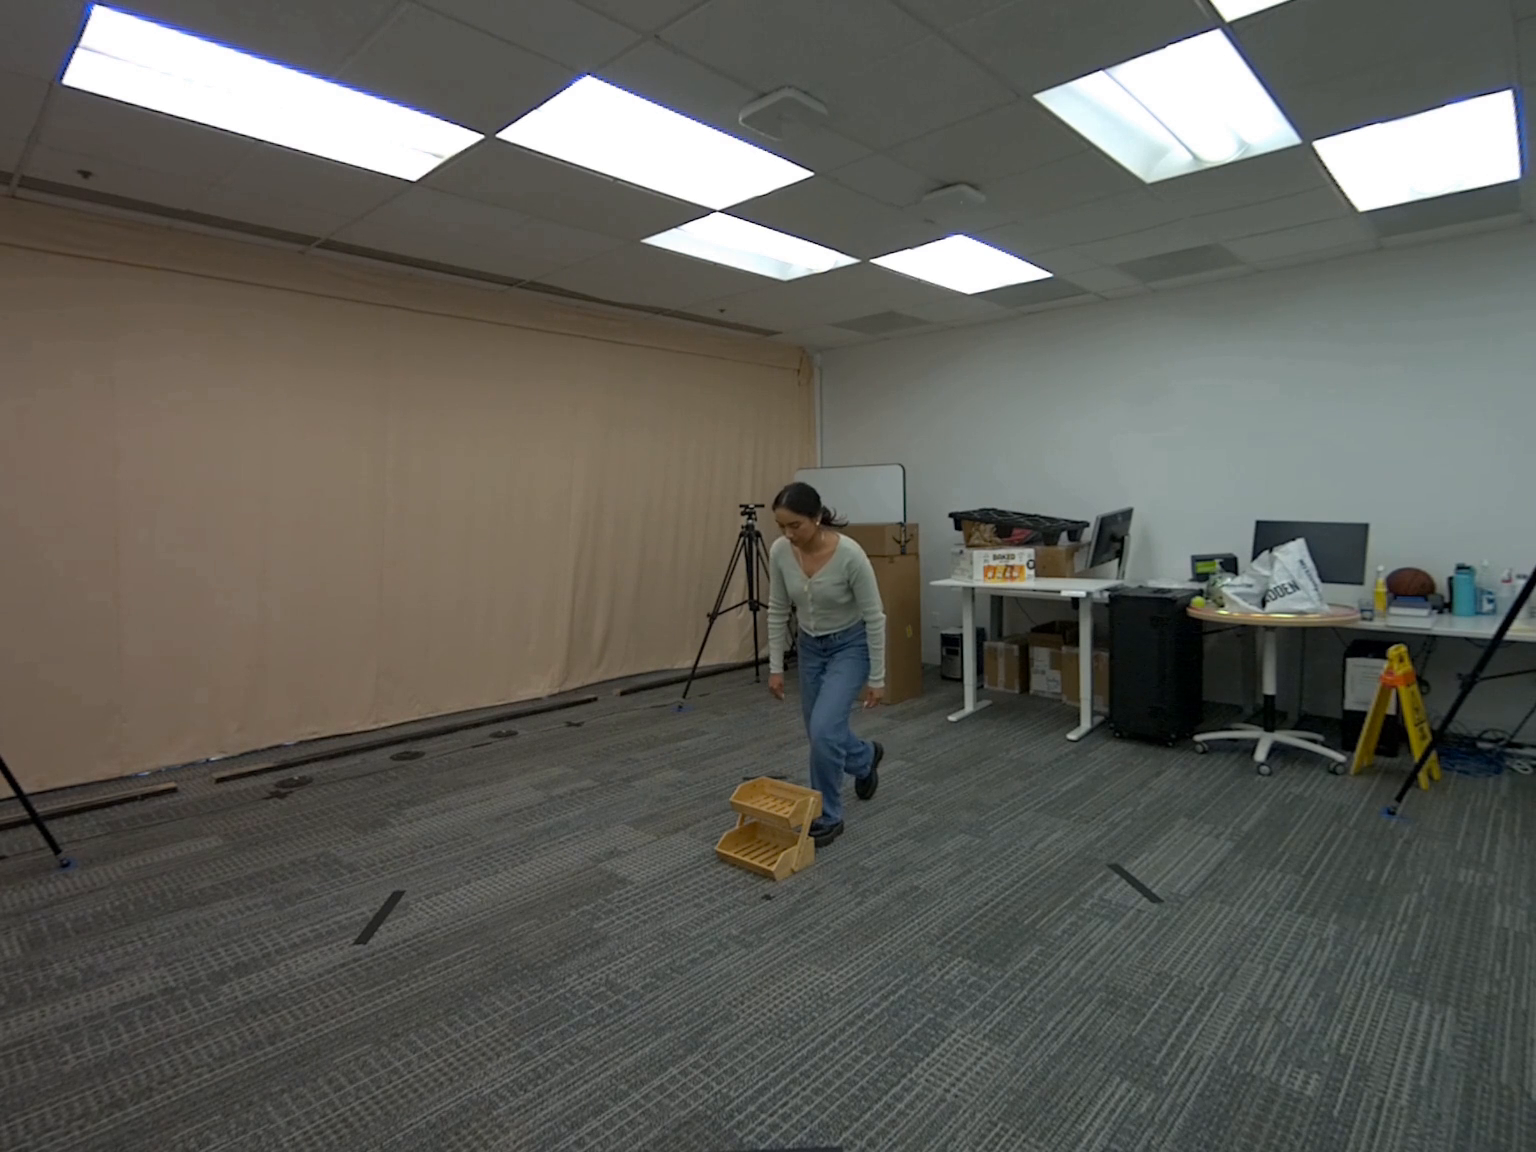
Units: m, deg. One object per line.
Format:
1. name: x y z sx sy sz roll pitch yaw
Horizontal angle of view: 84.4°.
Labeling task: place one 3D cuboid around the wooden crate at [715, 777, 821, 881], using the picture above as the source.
1. wooden crate: 0.001 0.976 3.297 0.335 0.273 0.293 3 5 41
